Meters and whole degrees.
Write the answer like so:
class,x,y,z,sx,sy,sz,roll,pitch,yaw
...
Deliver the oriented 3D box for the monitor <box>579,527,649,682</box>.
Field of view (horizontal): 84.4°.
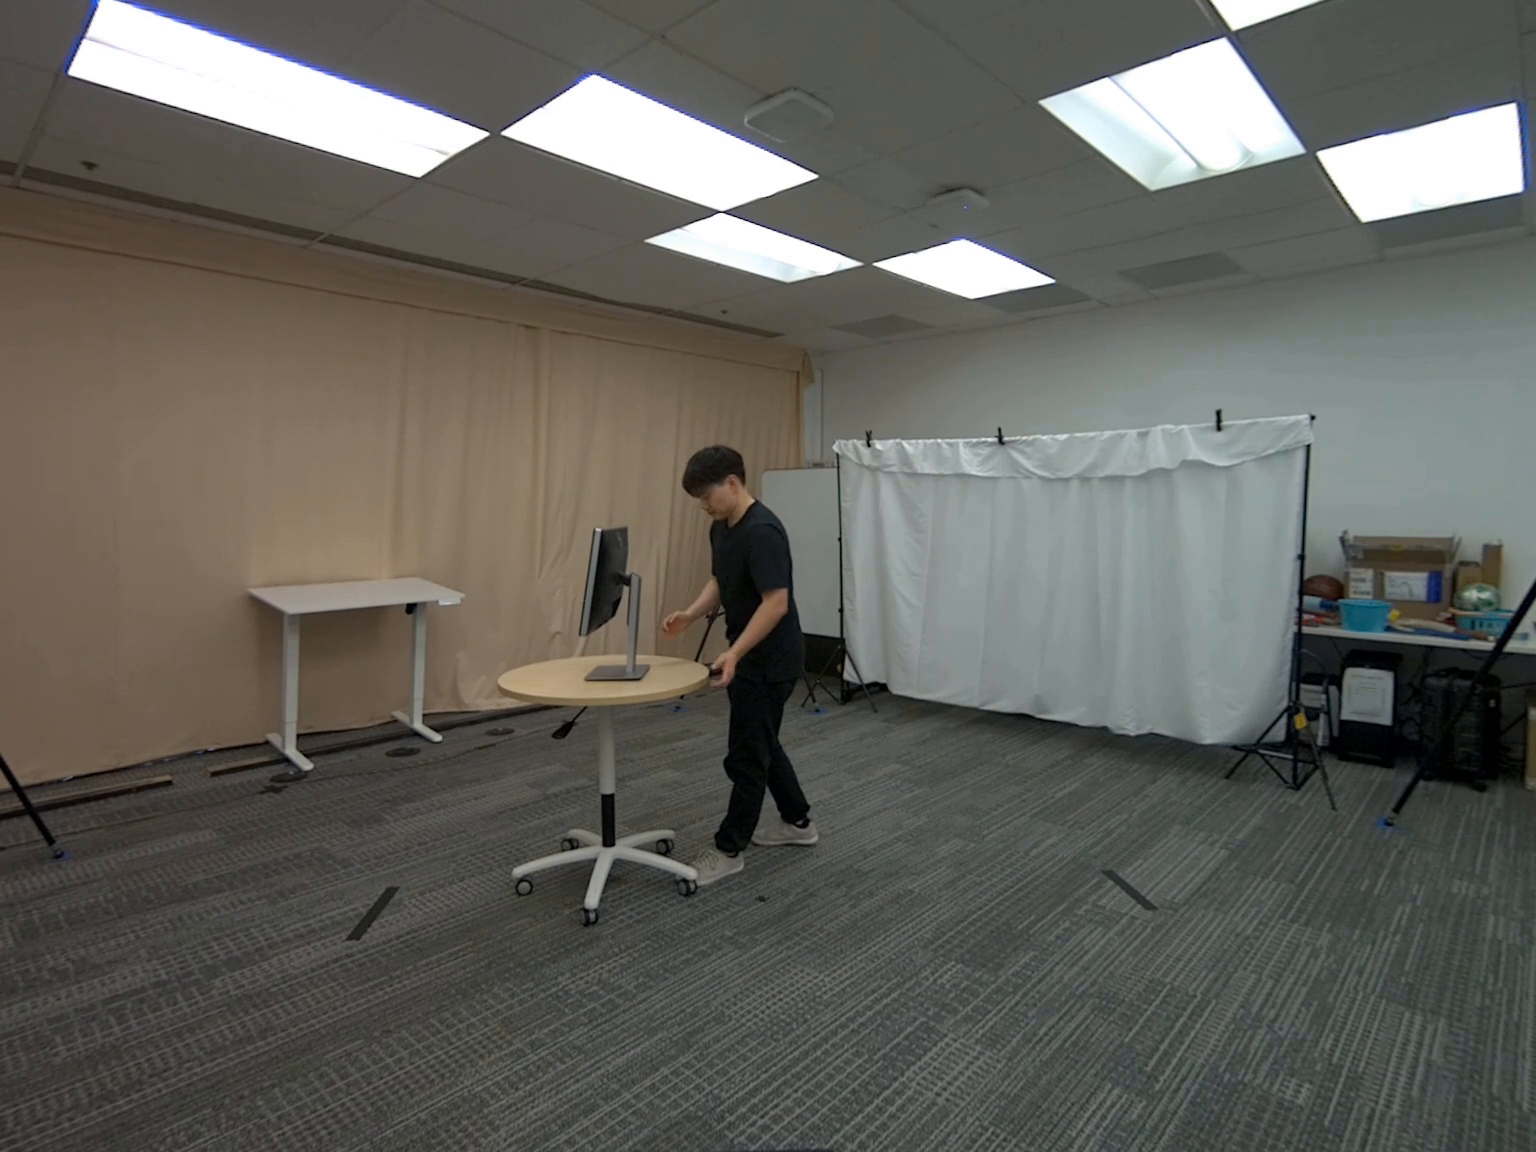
class,x,y,z,sx,sy,sz,roll,pitch,yaw
monitor,-0.546,0.101,3.066,0.187,0.521,0.540,-2,3,-2
